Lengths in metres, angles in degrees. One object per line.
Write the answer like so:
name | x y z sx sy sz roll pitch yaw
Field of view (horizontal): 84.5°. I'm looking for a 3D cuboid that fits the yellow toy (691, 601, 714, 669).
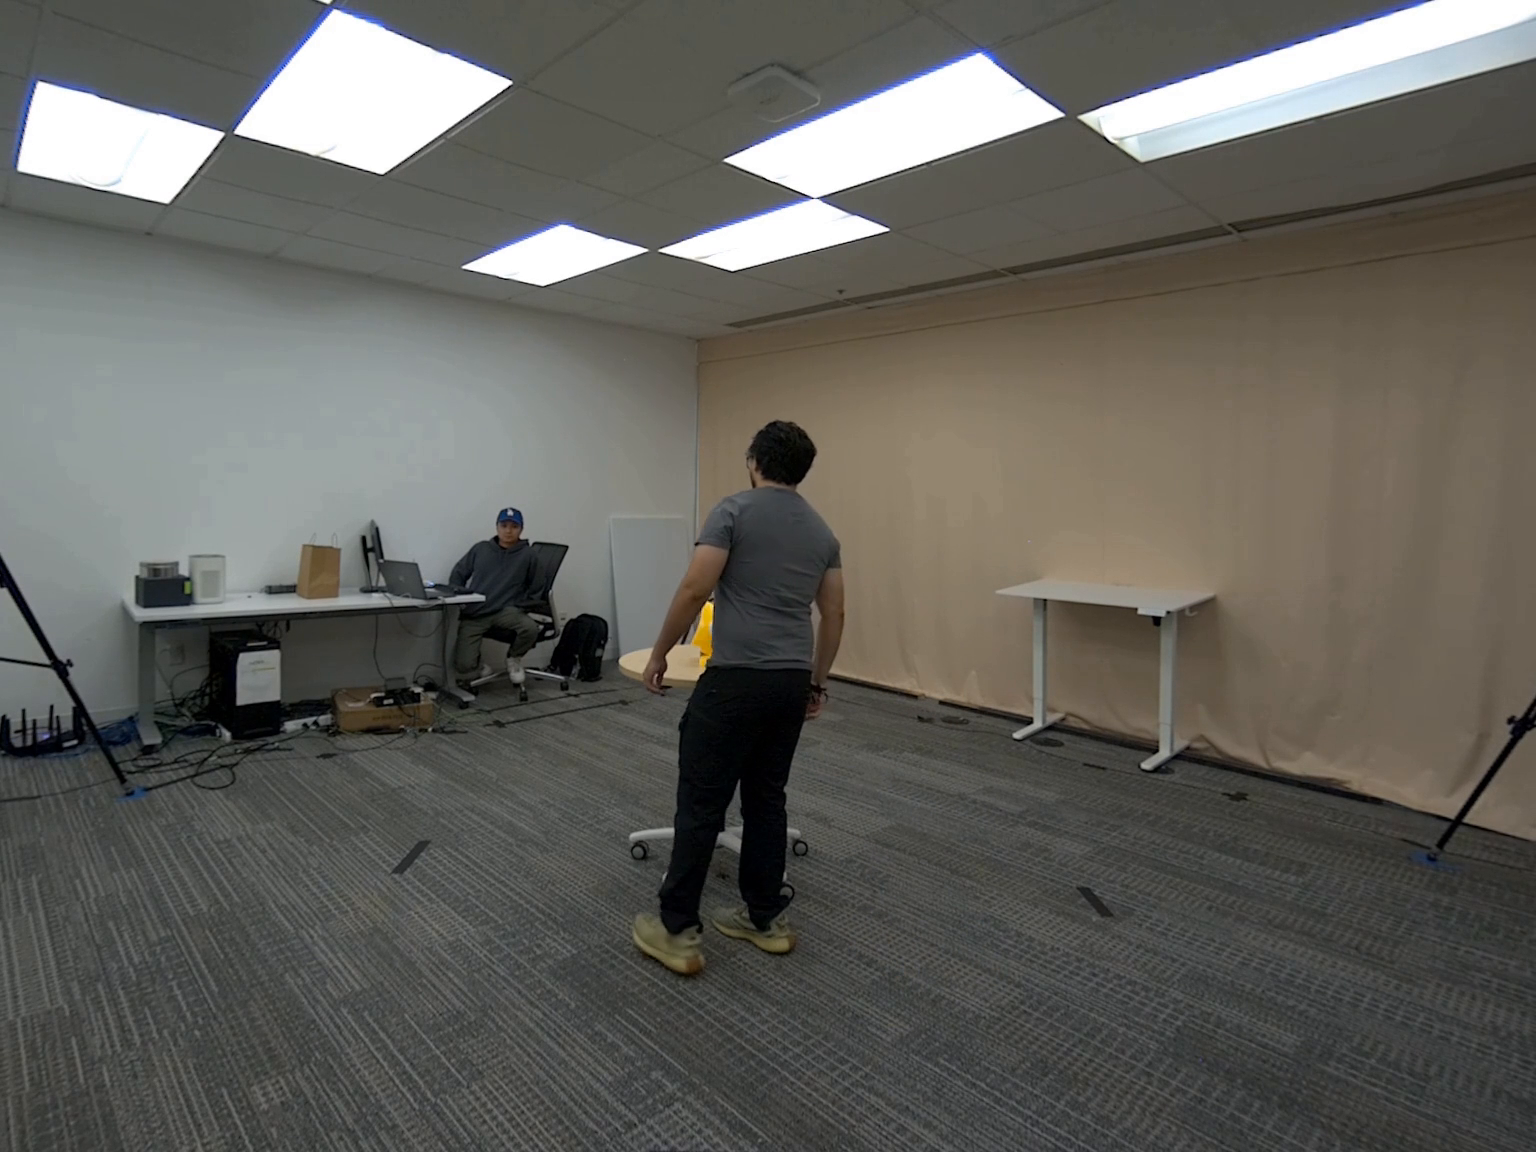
yellow toy | -0.182 0.207 3.099 0.194 0.230 0.204 2 3 7
